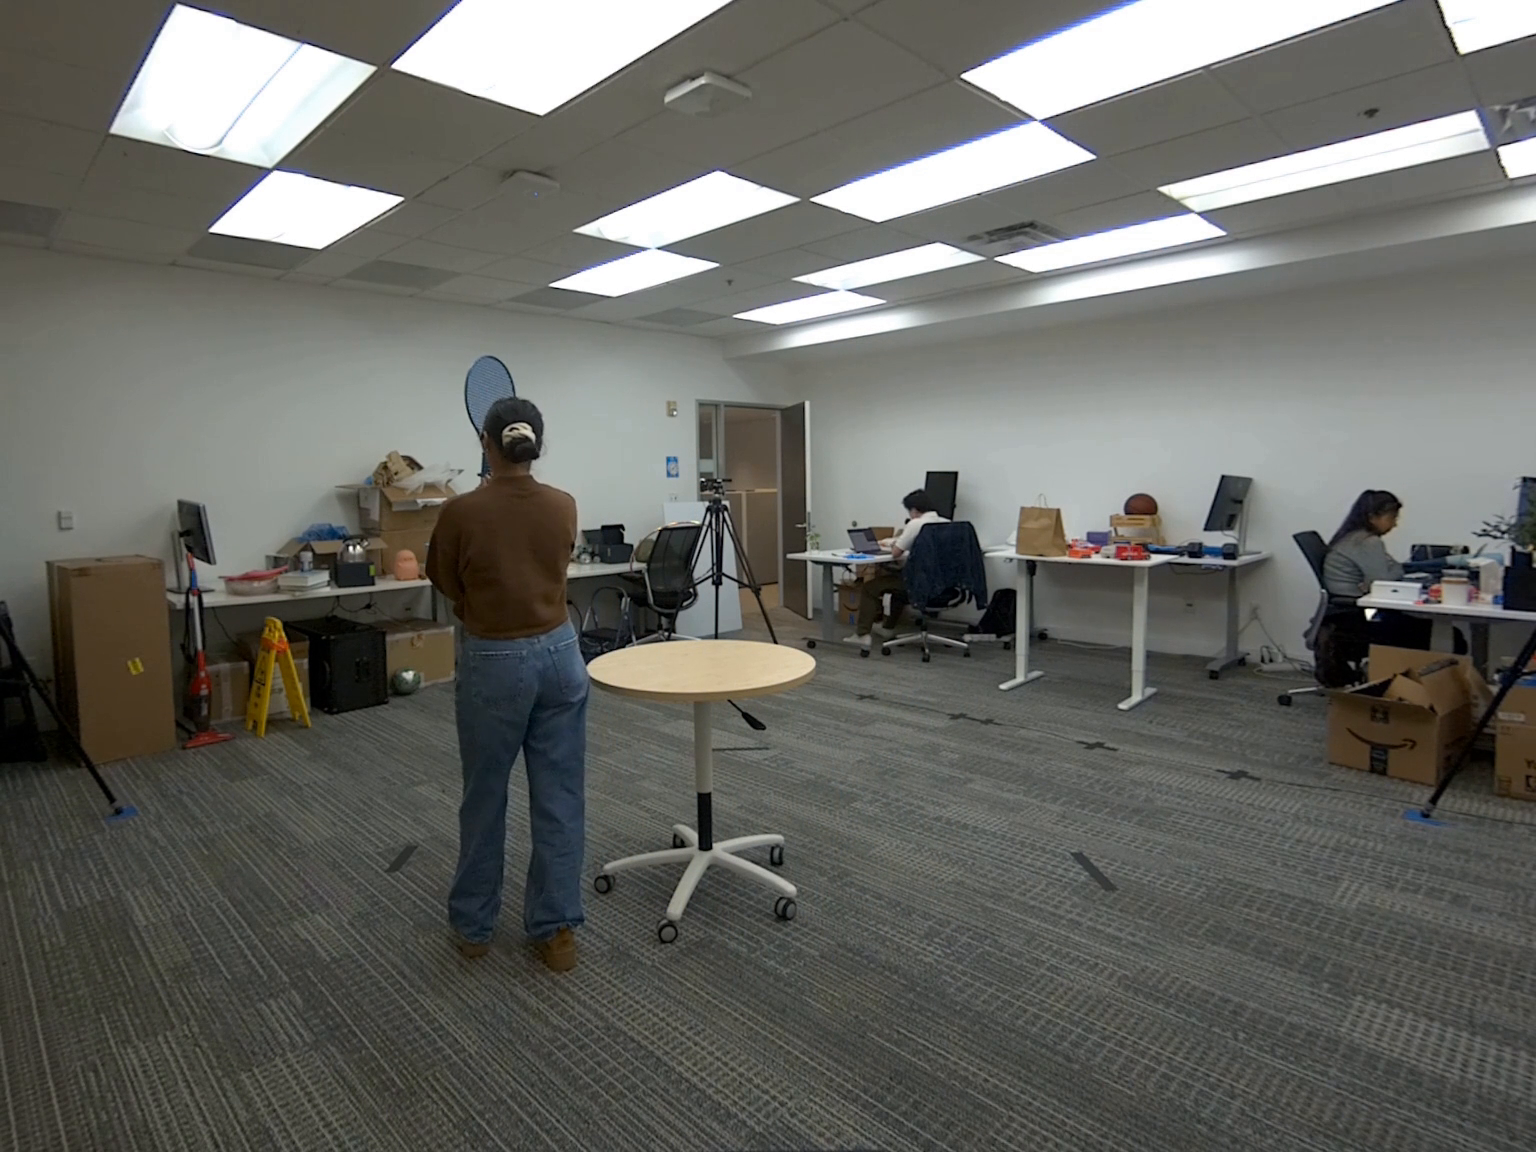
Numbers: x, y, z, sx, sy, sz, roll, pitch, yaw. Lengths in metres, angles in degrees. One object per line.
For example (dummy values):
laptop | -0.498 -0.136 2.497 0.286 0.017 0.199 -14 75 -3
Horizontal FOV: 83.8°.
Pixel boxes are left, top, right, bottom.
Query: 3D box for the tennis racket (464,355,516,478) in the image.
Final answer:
tennis racket | -0.868 -0.483 2.664 0.032 0.438 0.206 -6 -15 26
